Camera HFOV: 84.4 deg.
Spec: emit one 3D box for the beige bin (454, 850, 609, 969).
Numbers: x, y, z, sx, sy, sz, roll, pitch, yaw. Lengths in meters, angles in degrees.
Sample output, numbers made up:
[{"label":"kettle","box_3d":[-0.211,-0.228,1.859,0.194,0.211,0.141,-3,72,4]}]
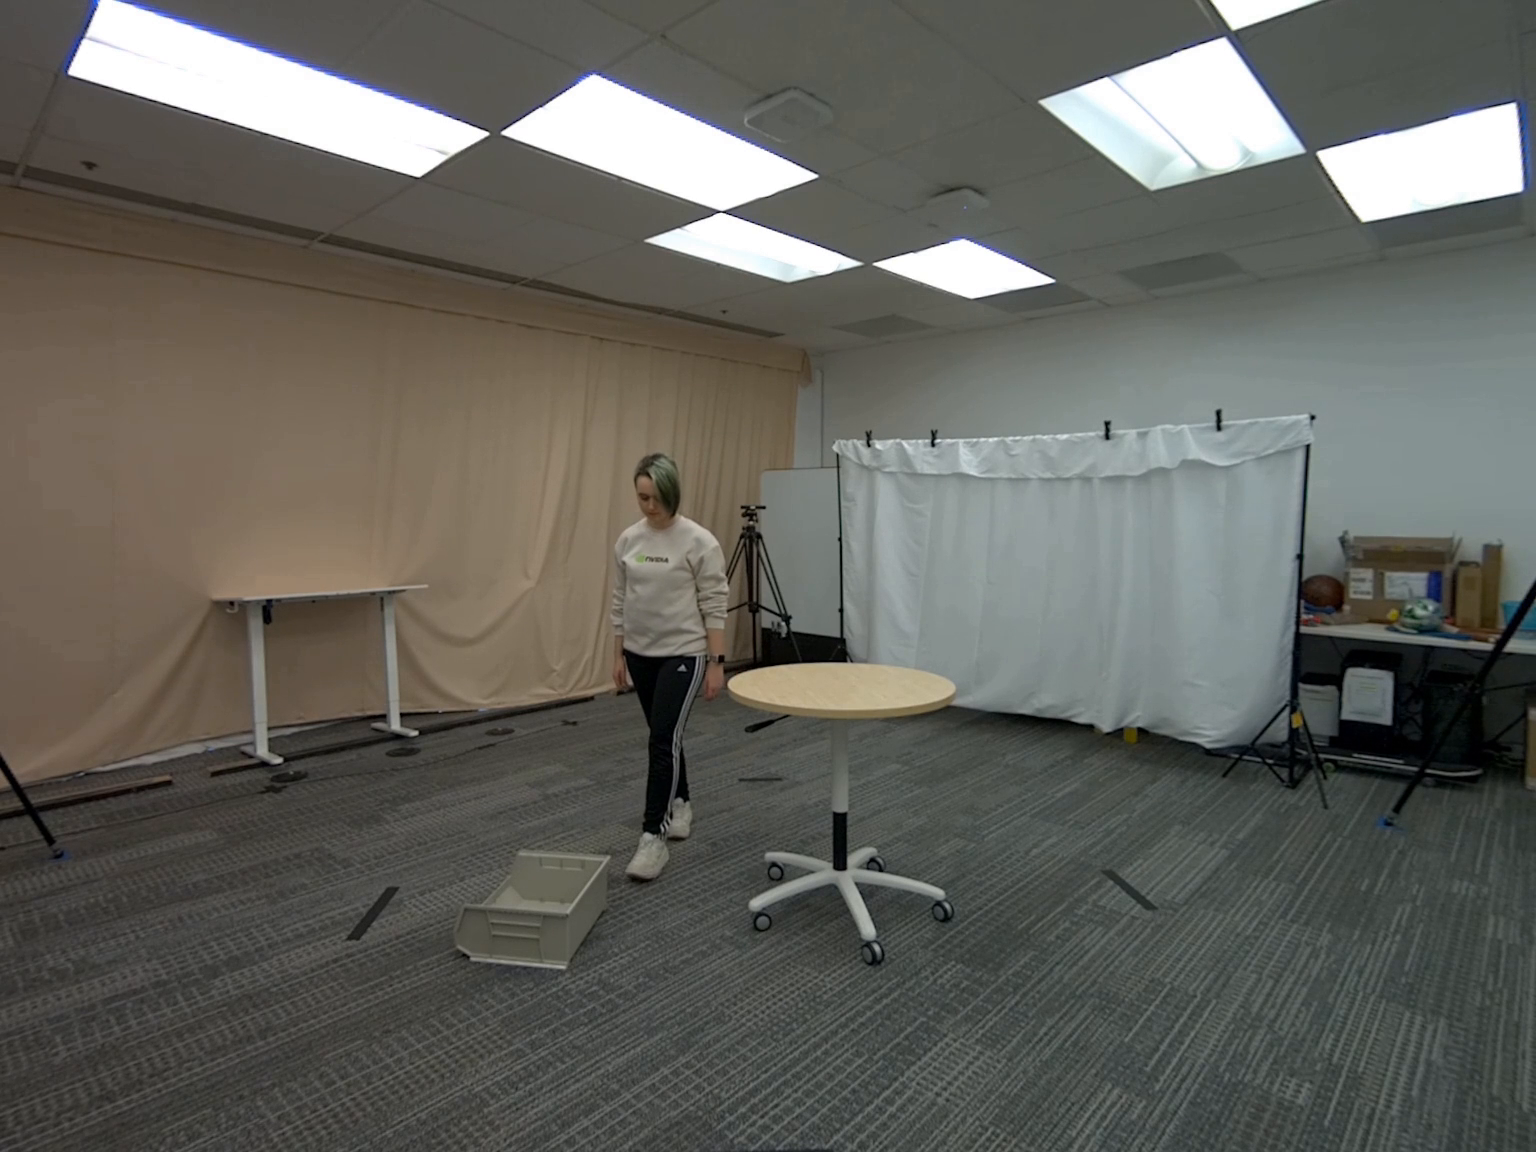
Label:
[{"label":"beige bin","box_3d":[-0.767,1.082,2.754,0.381,0.188,0.419,2,4,9]}]
